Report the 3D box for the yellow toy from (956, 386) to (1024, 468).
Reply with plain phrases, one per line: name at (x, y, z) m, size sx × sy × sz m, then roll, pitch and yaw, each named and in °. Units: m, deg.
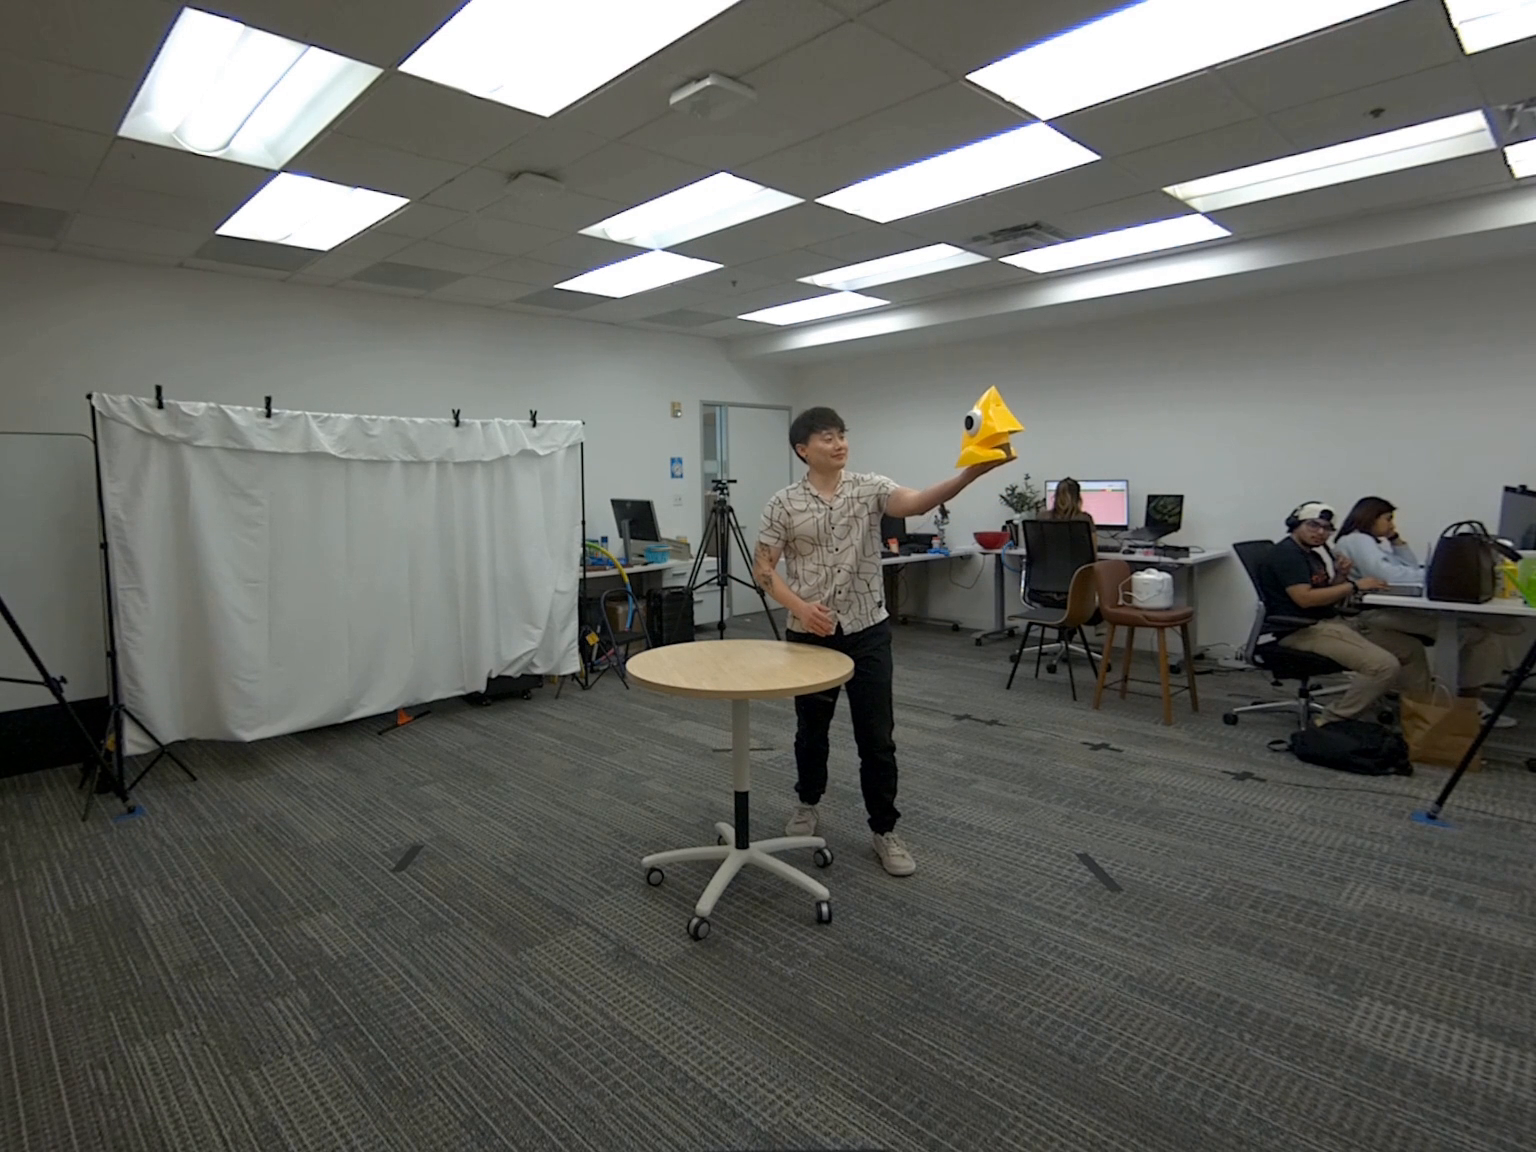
yellow toy at (0.692, -0.479, 2.729) m, size 0.197 × 0.231 × 0.200 m, roll -10°, pitch 1°, yaw 41°
